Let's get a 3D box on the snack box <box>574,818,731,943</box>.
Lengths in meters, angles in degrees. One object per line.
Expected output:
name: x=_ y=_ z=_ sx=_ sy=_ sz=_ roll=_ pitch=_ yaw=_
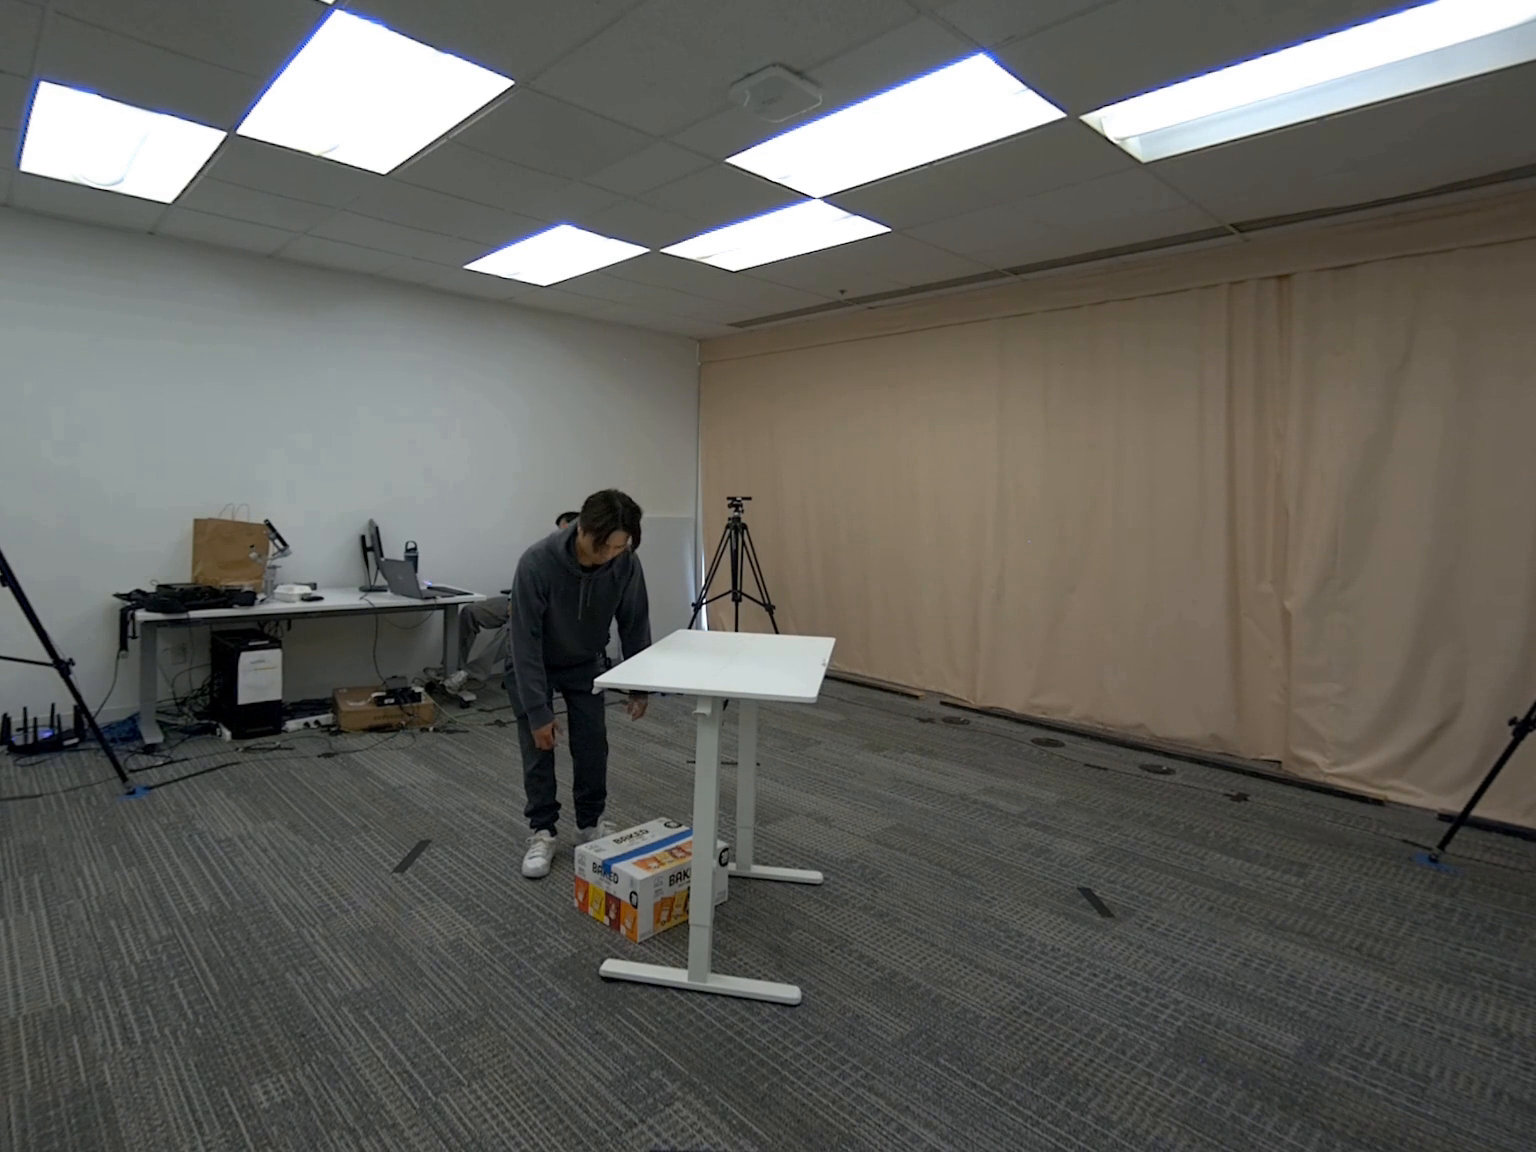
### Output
snack box: x=-0.402 y=1.022 z=2.867 sx=0.349 sy=0.205 sz=0.396 roll=5 pitch=6 yaw=42
